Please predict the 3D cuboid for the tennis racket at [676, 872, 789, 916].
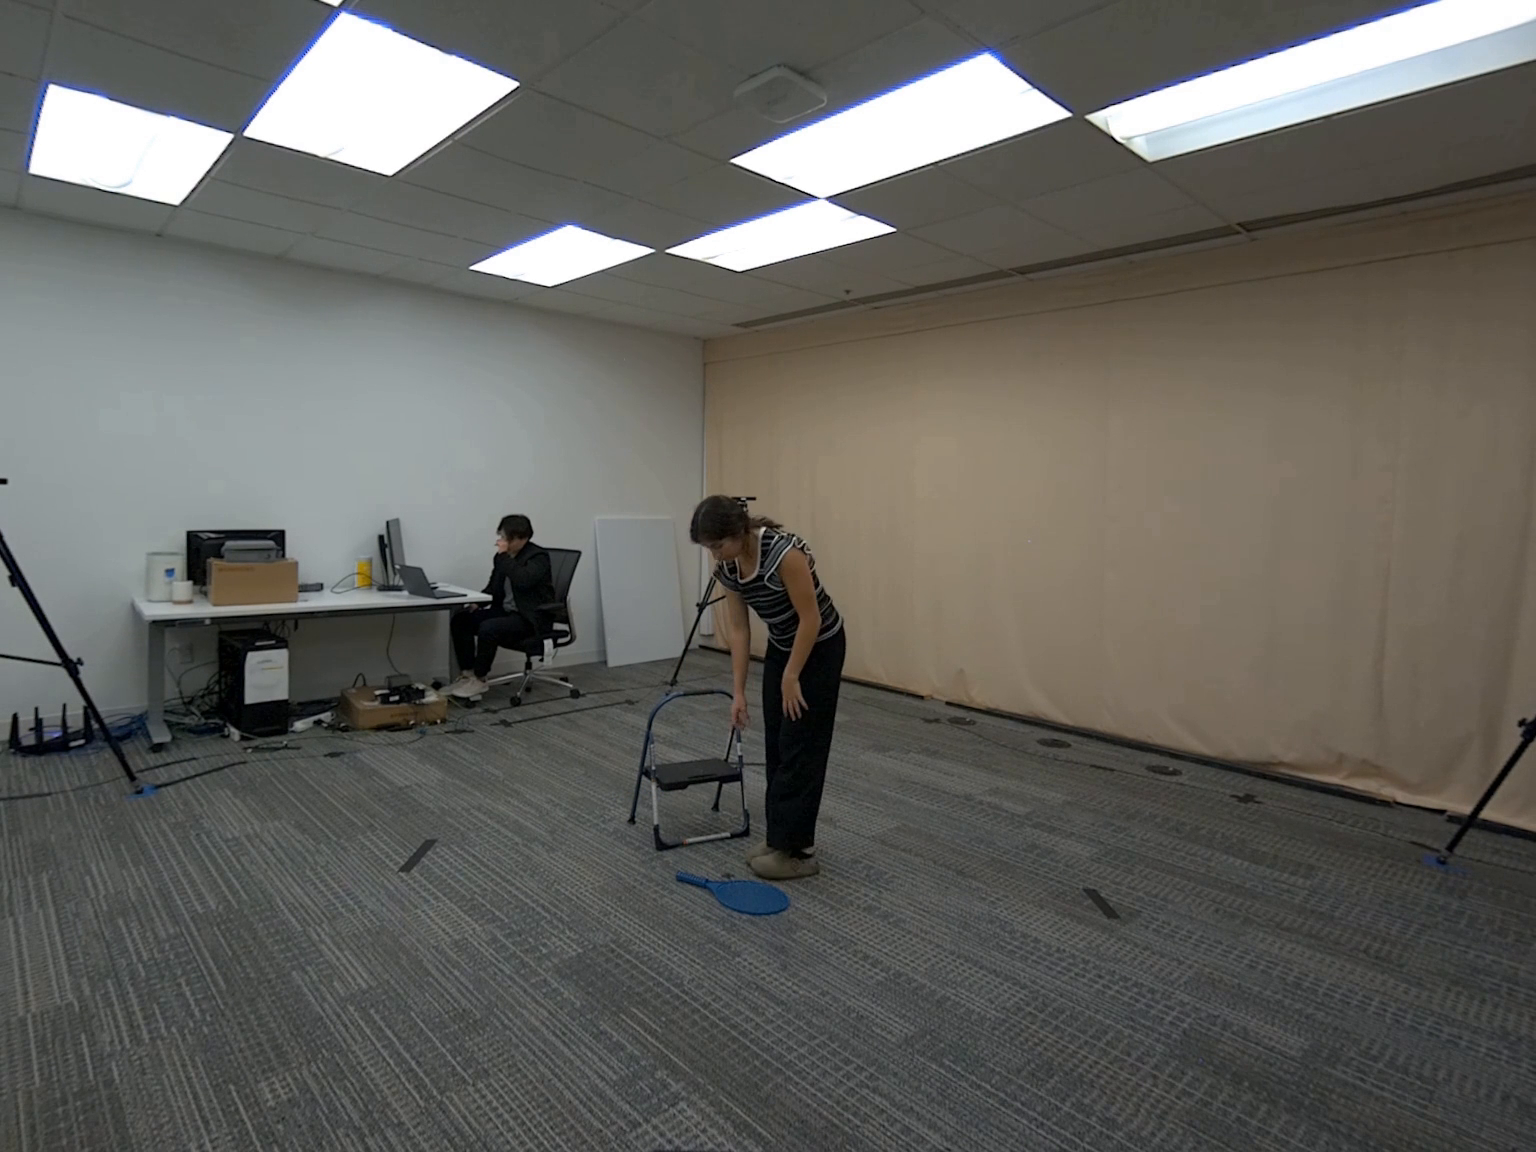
[{"bbox_3d":[-0.142,1.106,2.960,0.442,0.031,0.210,8,9,26],"label":"tennis racket"}]
